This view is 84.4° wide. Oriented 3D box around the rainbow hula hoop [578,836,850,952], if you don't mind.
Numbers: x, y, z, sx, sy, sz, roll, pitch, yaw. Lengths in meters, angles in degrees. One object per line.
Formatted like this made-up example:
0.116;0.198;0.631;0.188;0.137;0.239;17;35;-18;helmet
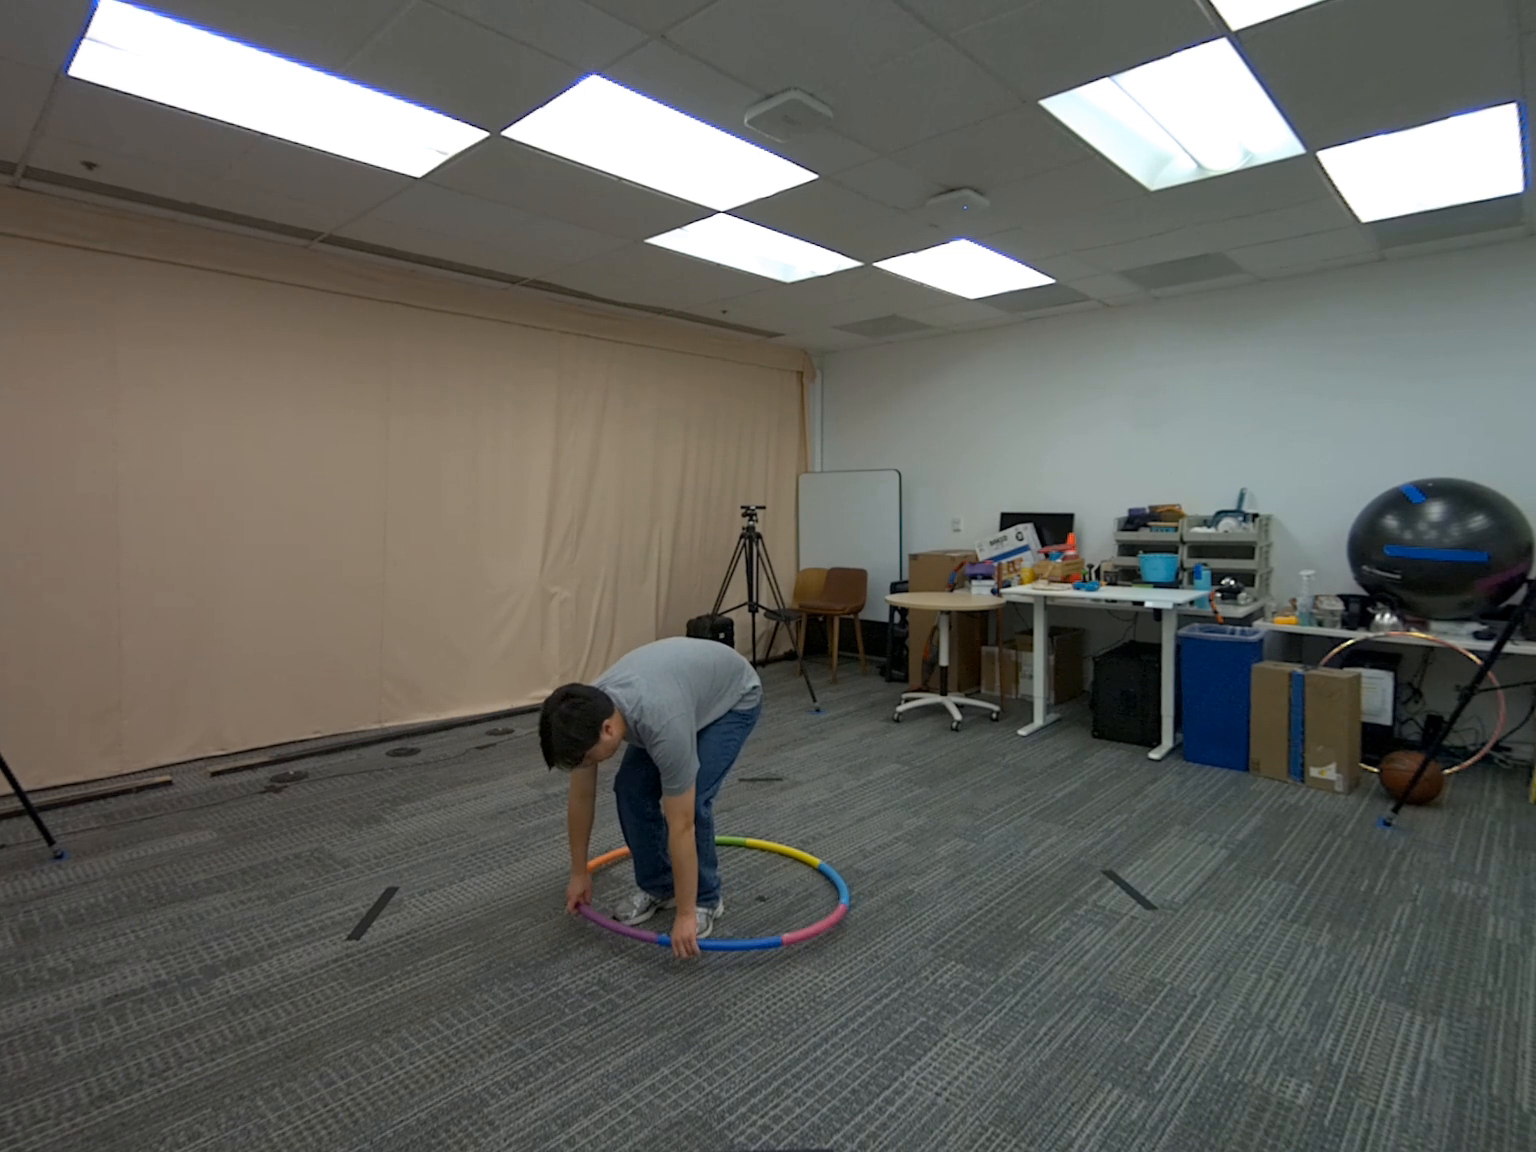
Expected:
-0.206;1.084;2.987;0.978;0.035;0.980;2;1;-2;rainbow hula hoop
